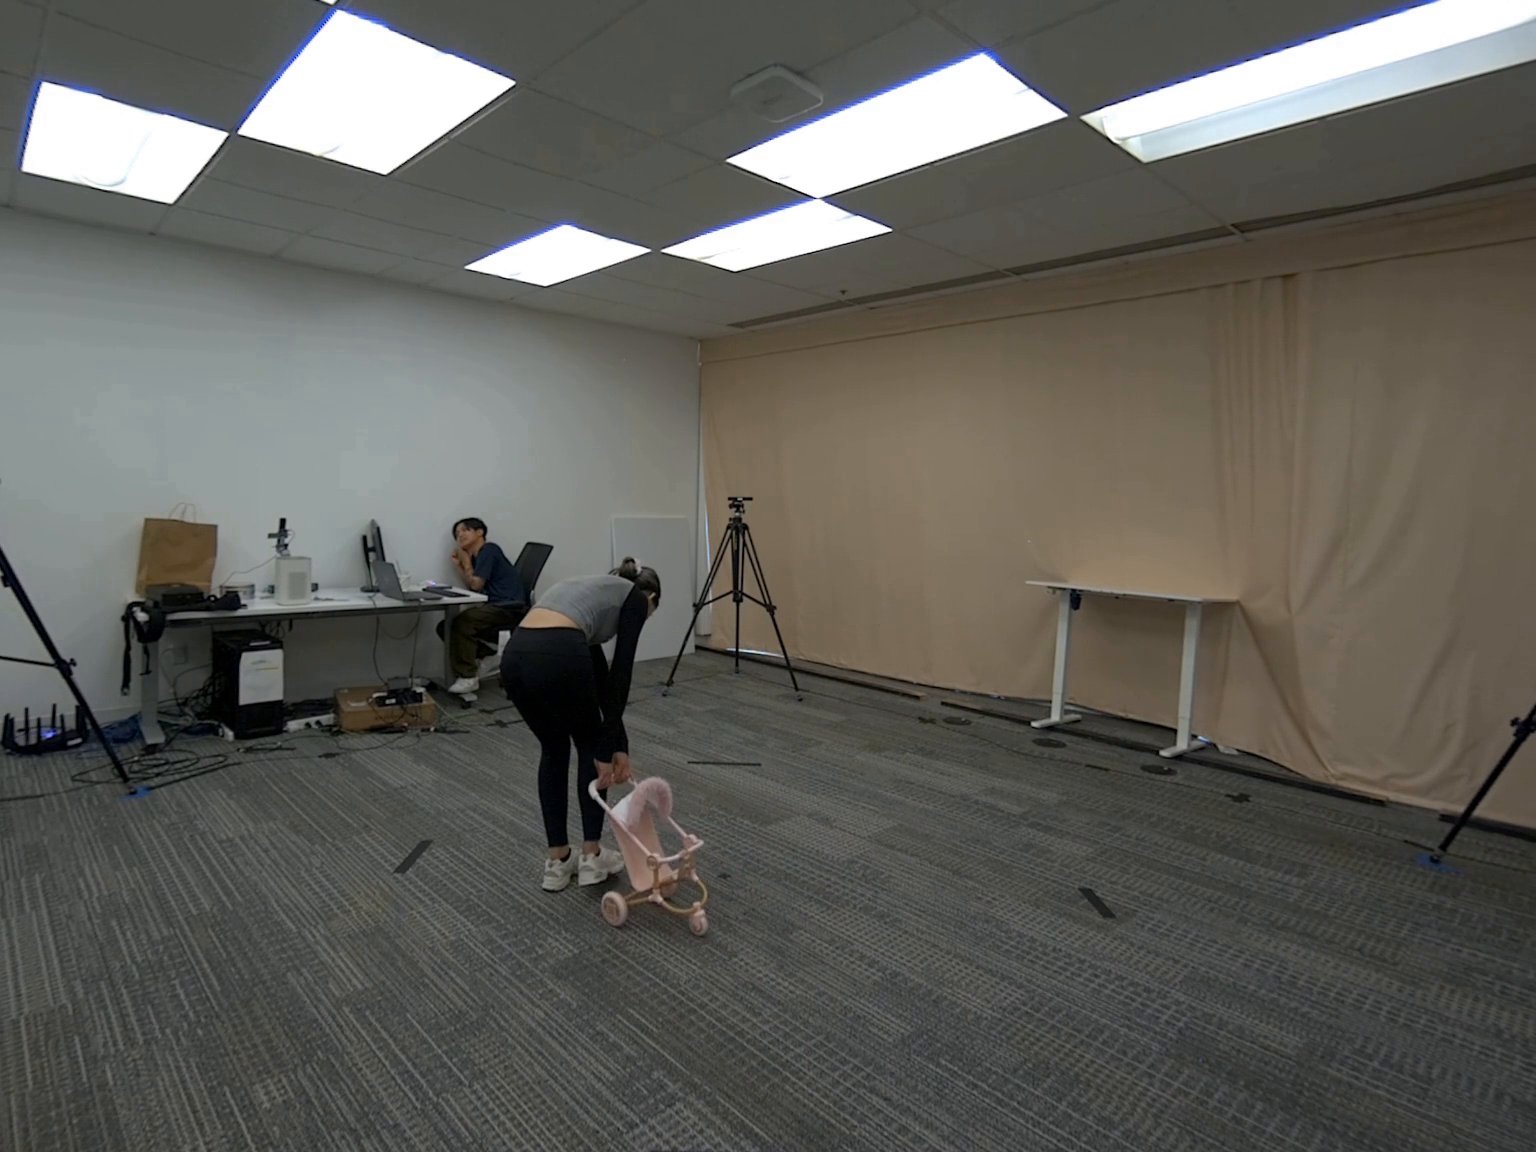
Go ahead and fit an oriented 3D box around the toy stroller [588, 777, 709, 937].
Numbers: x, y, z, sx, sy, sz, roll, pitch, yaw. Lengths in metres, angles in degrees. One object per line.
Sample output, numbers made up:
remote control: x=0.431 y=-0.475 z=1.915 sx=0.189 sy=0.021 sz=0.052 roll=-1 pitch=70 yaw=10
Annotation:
toy stroller: x=-0.380 y=0.908 z=2.778 sx=0.346 sy=0.539 sz=0.275 roll=-18 pitch=-9 yaw=38
